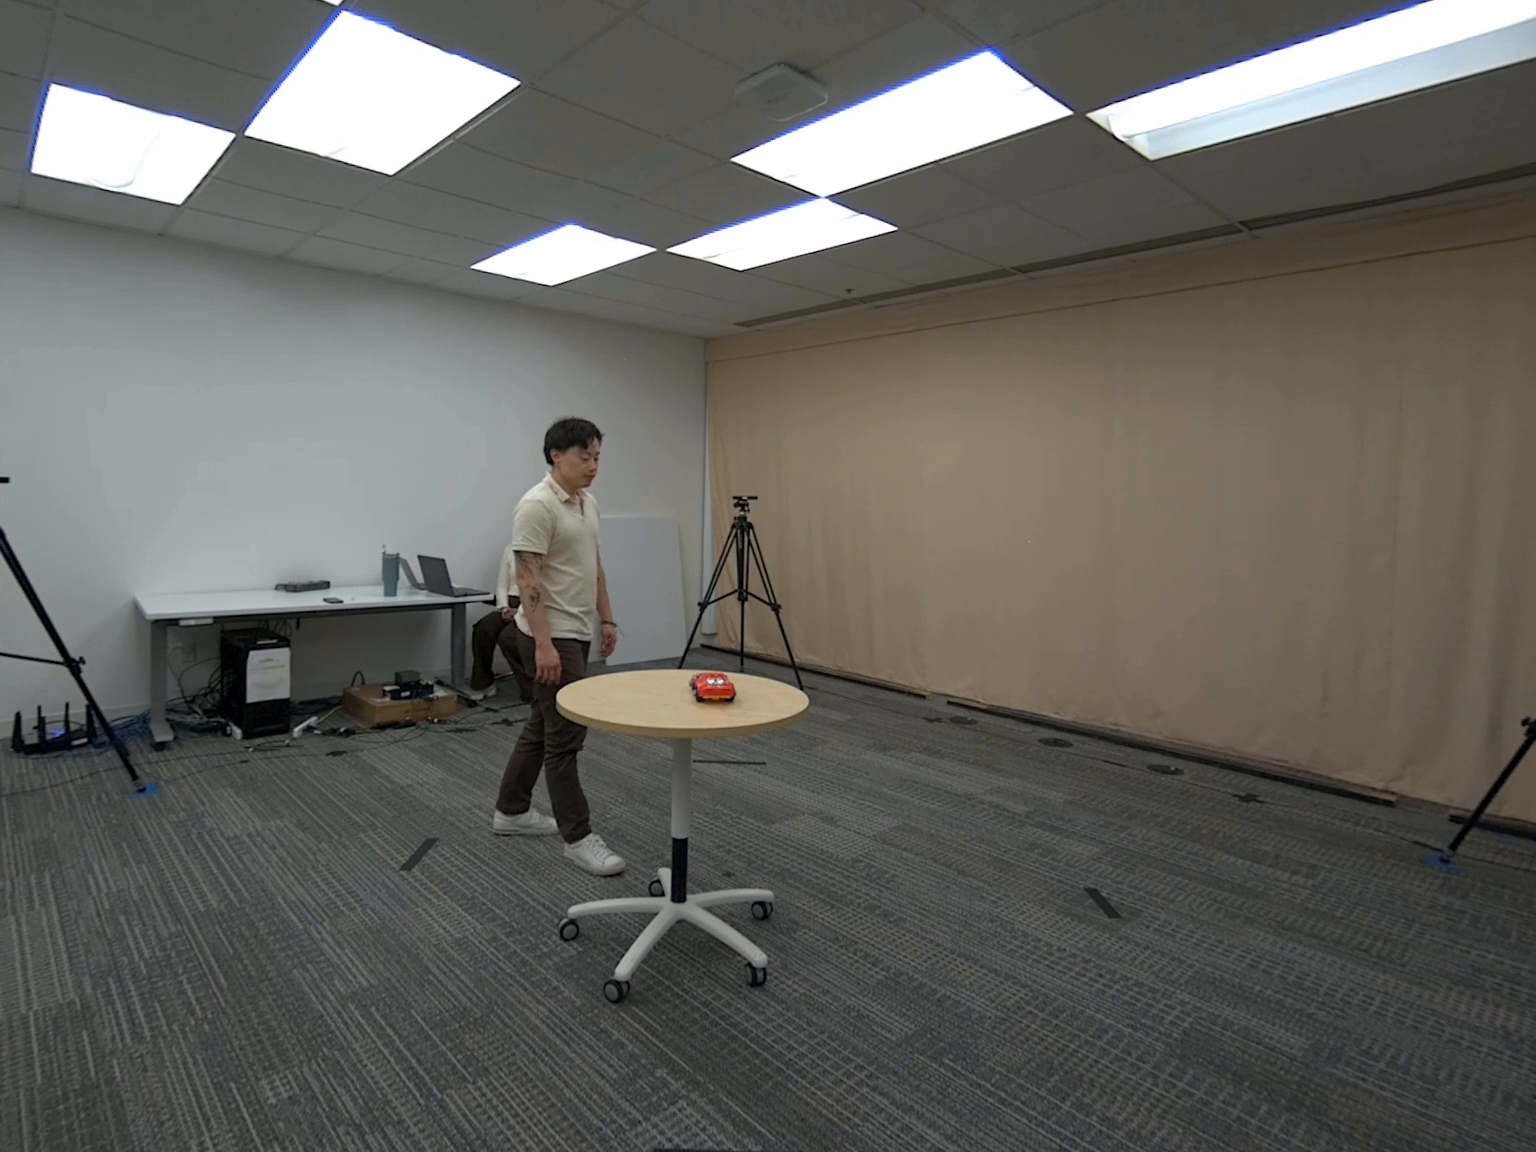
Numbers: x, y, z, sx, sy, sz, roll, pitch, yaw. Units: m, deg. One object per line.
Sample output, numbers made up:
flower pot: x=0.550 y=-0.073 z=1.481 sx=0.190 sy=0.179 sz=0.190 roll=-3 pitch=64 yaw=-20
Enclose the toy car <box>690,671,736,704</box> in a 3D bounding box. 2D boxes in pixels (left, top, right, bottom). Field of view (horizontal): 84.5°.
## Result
toy car: x=-0.171 y=0.338 z=2.543 sx=0.129 sy=0.084 sz=0.255 roll=2 pitch=-7 yaw=-10
